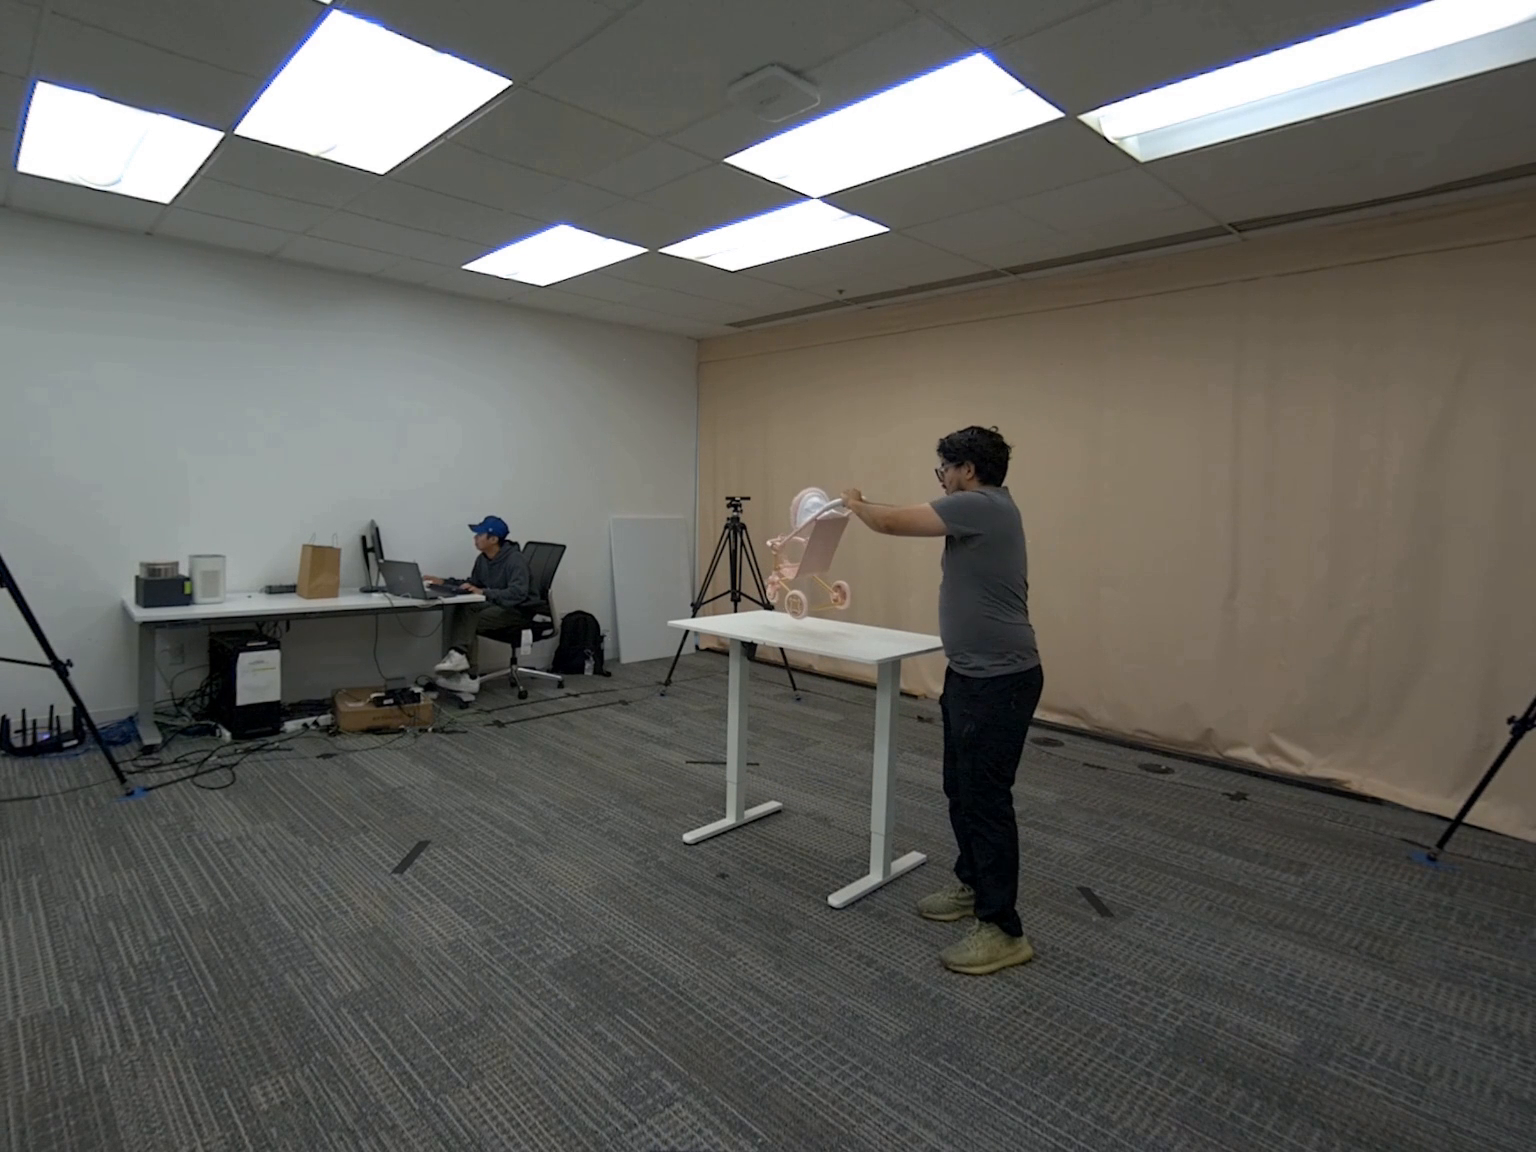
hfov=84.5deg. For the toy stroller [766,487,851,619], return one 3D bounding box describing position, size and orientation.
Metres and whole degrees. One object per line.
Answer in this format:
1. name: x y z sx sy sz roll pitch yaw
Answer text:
1. toy stroller: 0.151 -0.088 3.190 0.275 0.529 0.352 -6 25 -40
